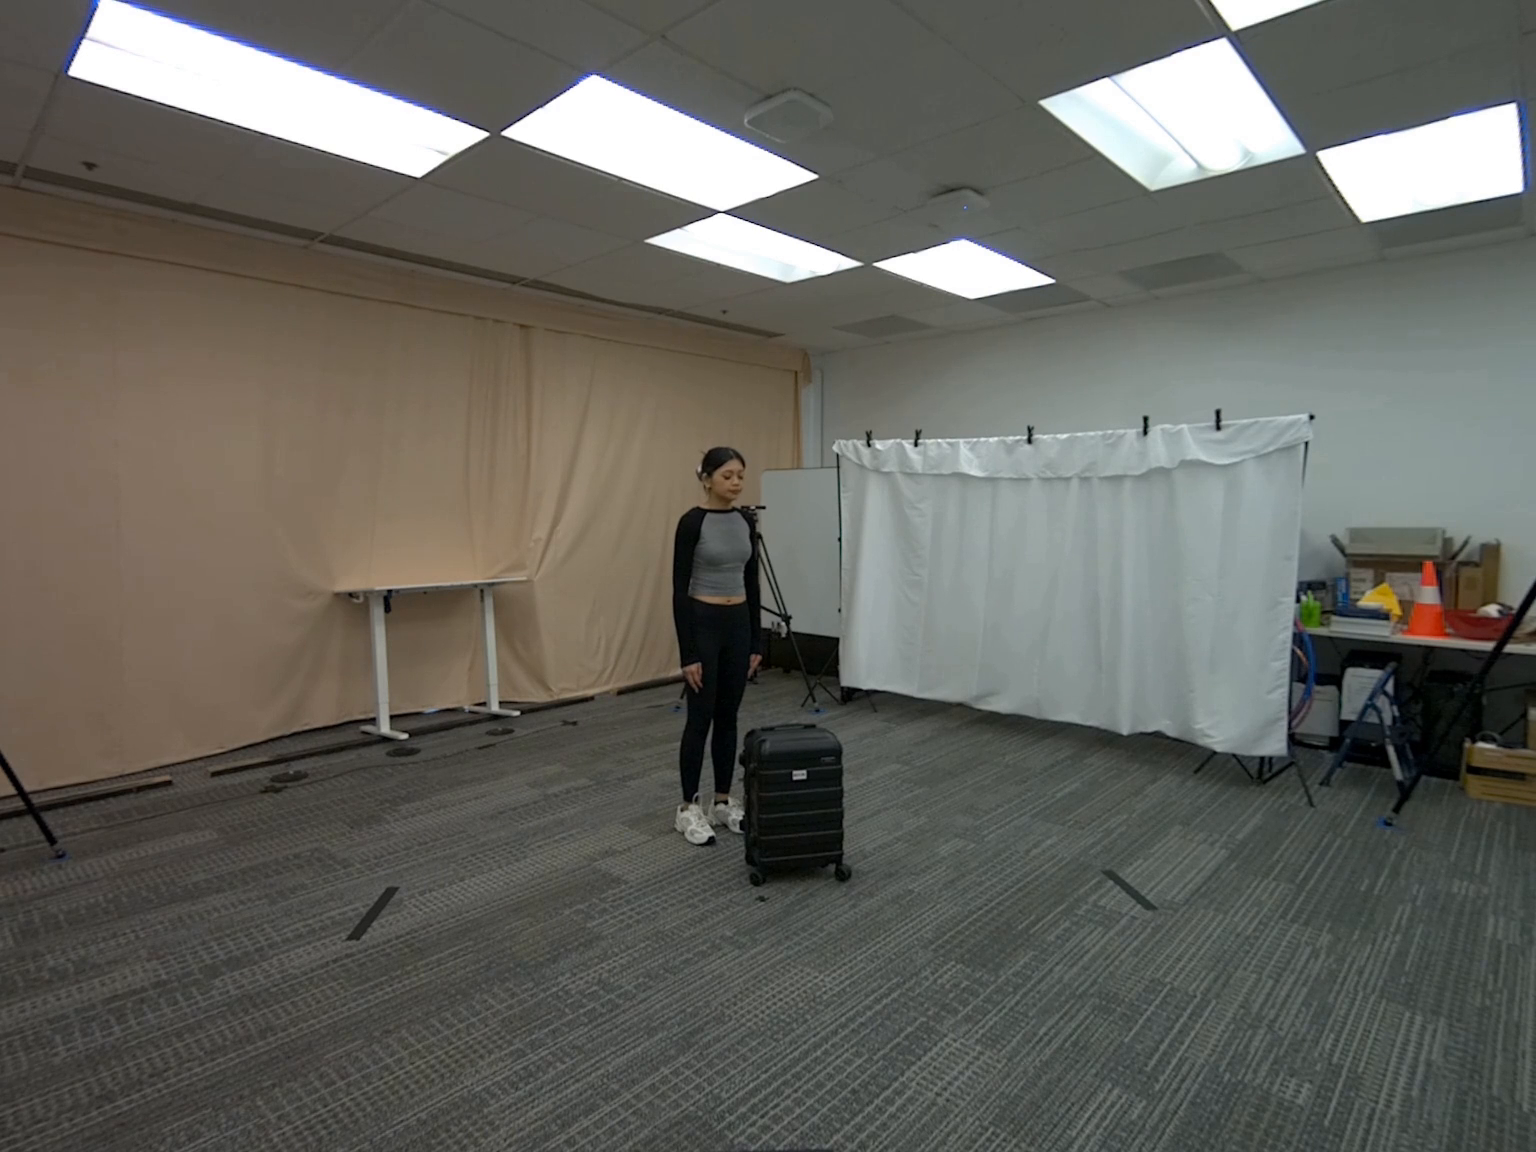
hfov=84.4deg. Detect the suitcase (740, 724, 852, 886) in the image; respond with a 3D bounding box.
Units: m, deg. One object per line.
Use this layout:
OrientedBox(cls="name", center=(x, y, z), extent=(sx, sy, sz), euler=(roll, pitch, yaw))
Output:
OrientedBox(cls="suitcase", center=(0.102, 0.847, 3.197), extent=(0.370, 0.548, 0.252), euler=(-1, 3, -13))
